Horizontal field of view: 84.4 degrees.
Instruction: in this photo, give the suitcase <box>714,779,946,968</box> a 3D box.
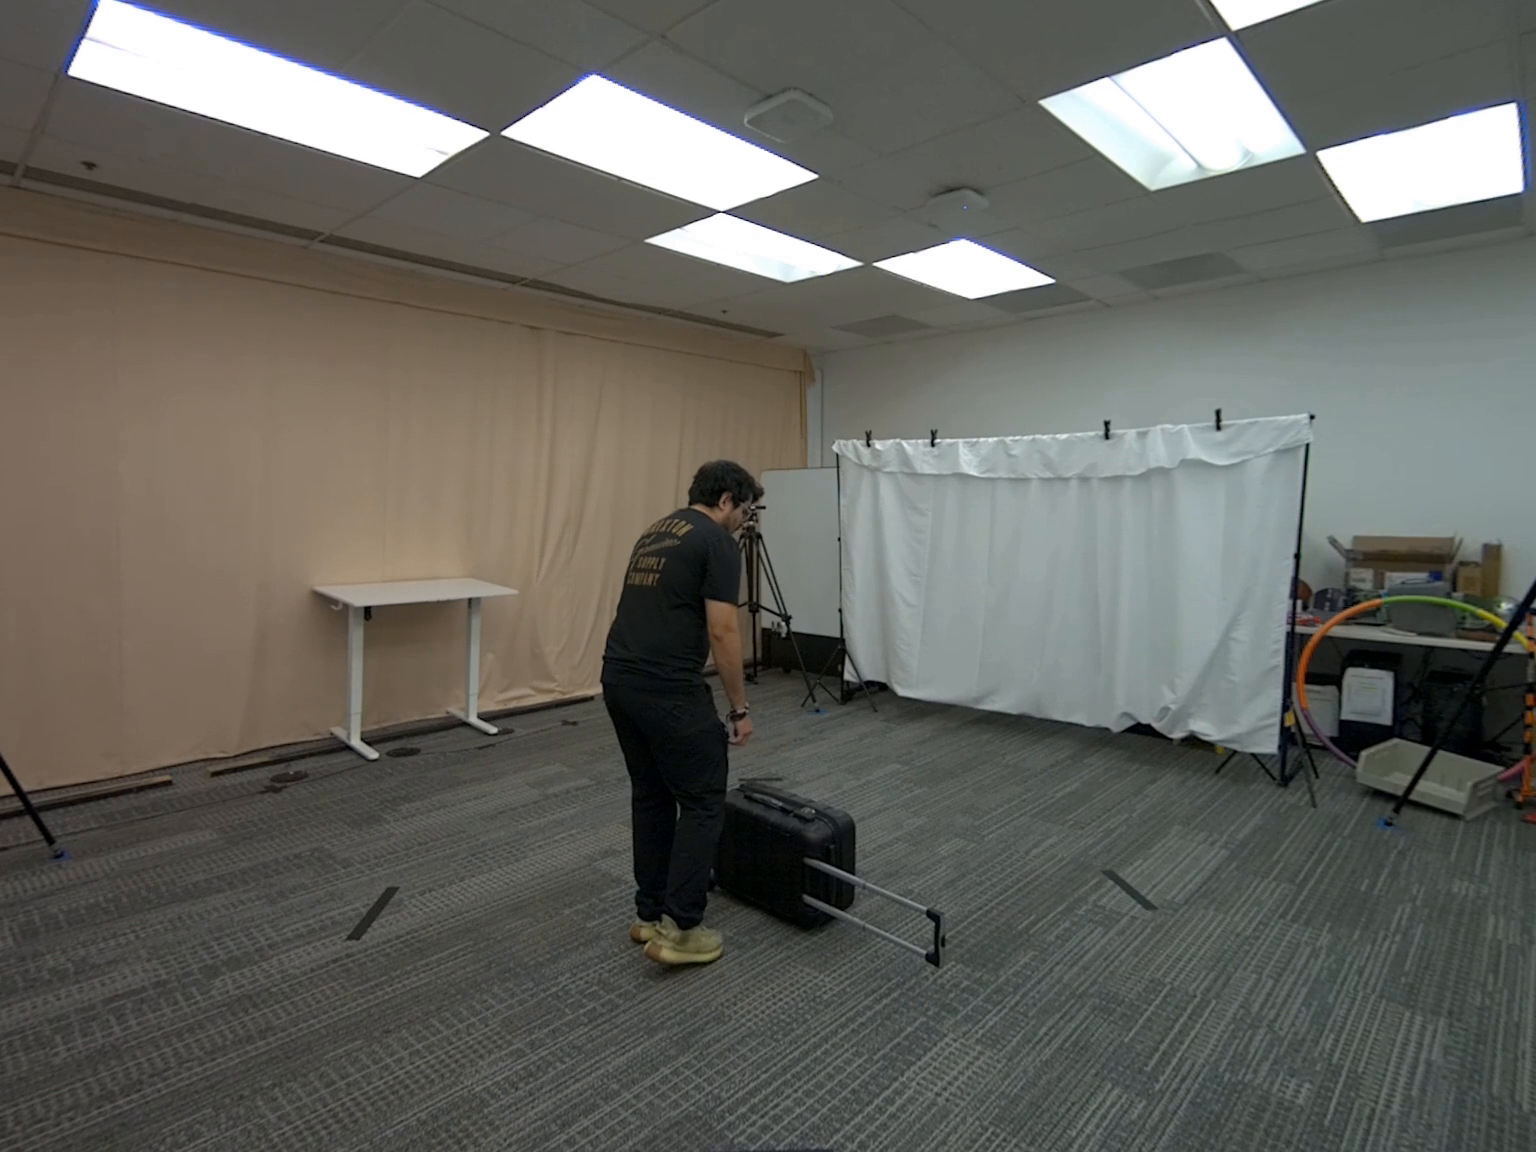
[{"bbox_3d":[0.199,0.971,2.797,1.012,0.383,0.249,5,5,43],"label":"suitcase"}]
